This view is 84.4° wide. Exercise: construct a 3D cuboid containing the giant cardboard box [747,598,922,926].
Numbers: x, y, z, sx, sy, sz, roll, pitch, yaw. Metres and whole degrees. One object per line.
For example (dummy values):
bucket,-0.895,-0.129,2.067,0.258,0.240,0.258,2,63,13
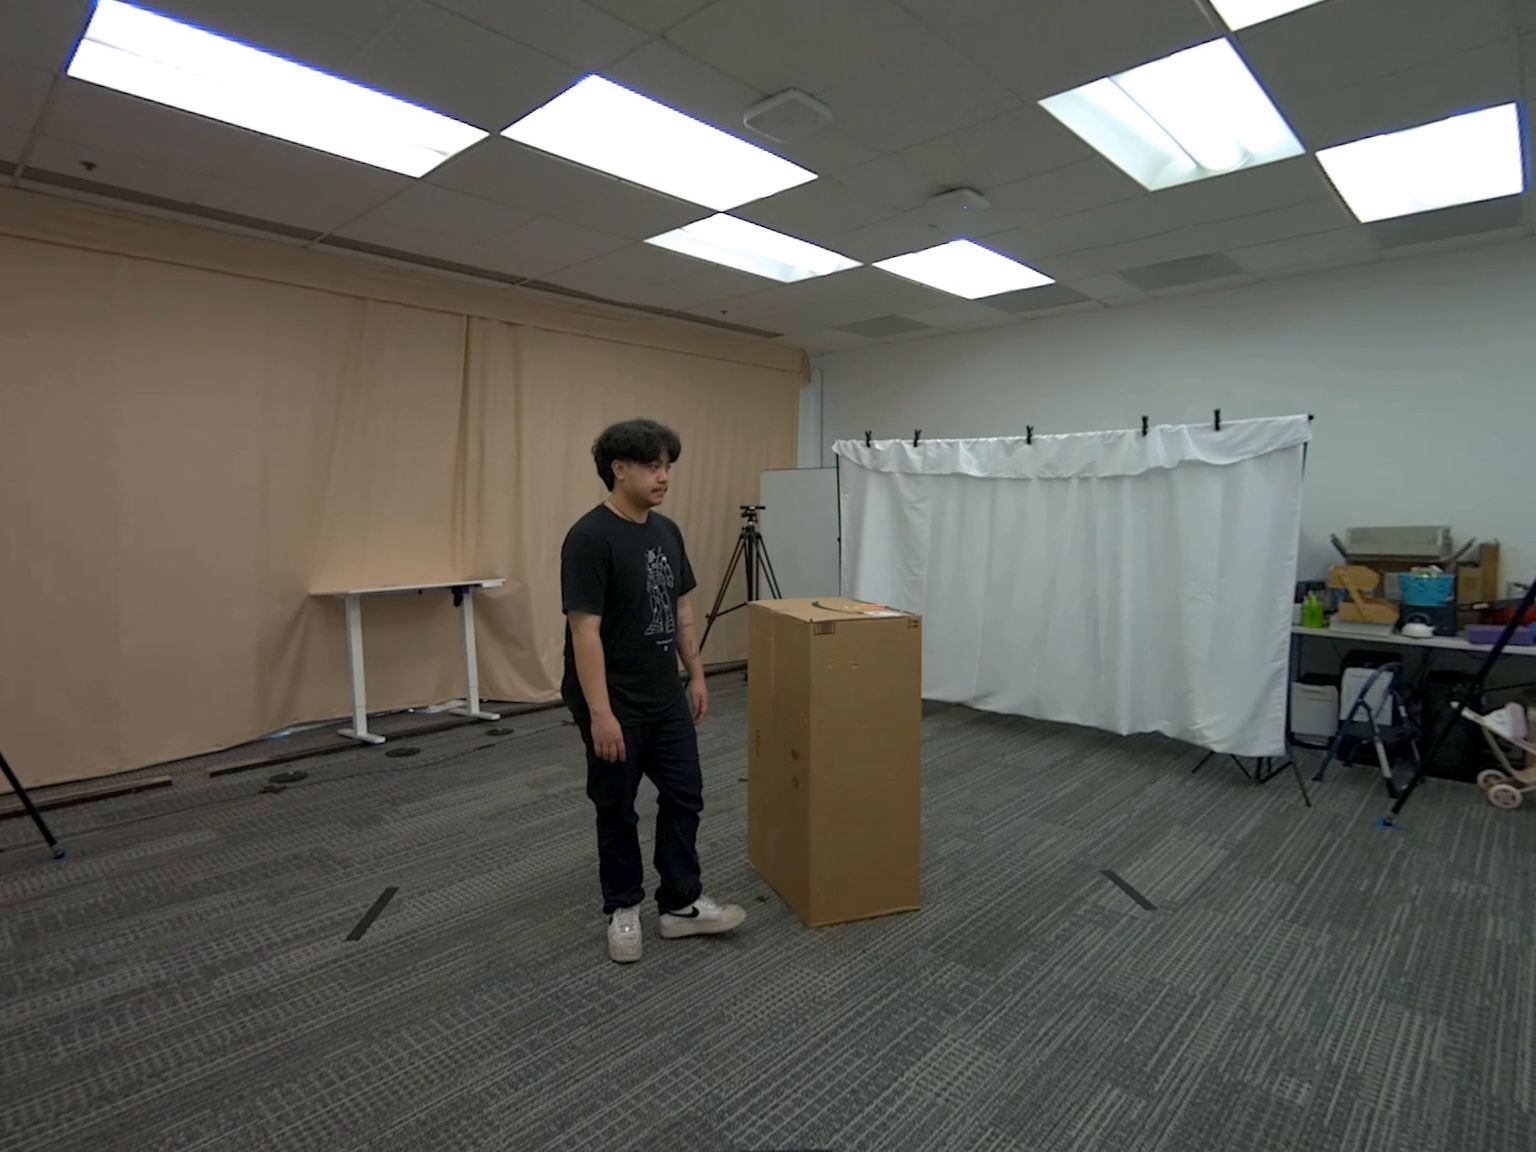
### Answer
giant cardboard box,0.228,0.621,3.082,0.438,1.025,0.597,-1,3,-21
